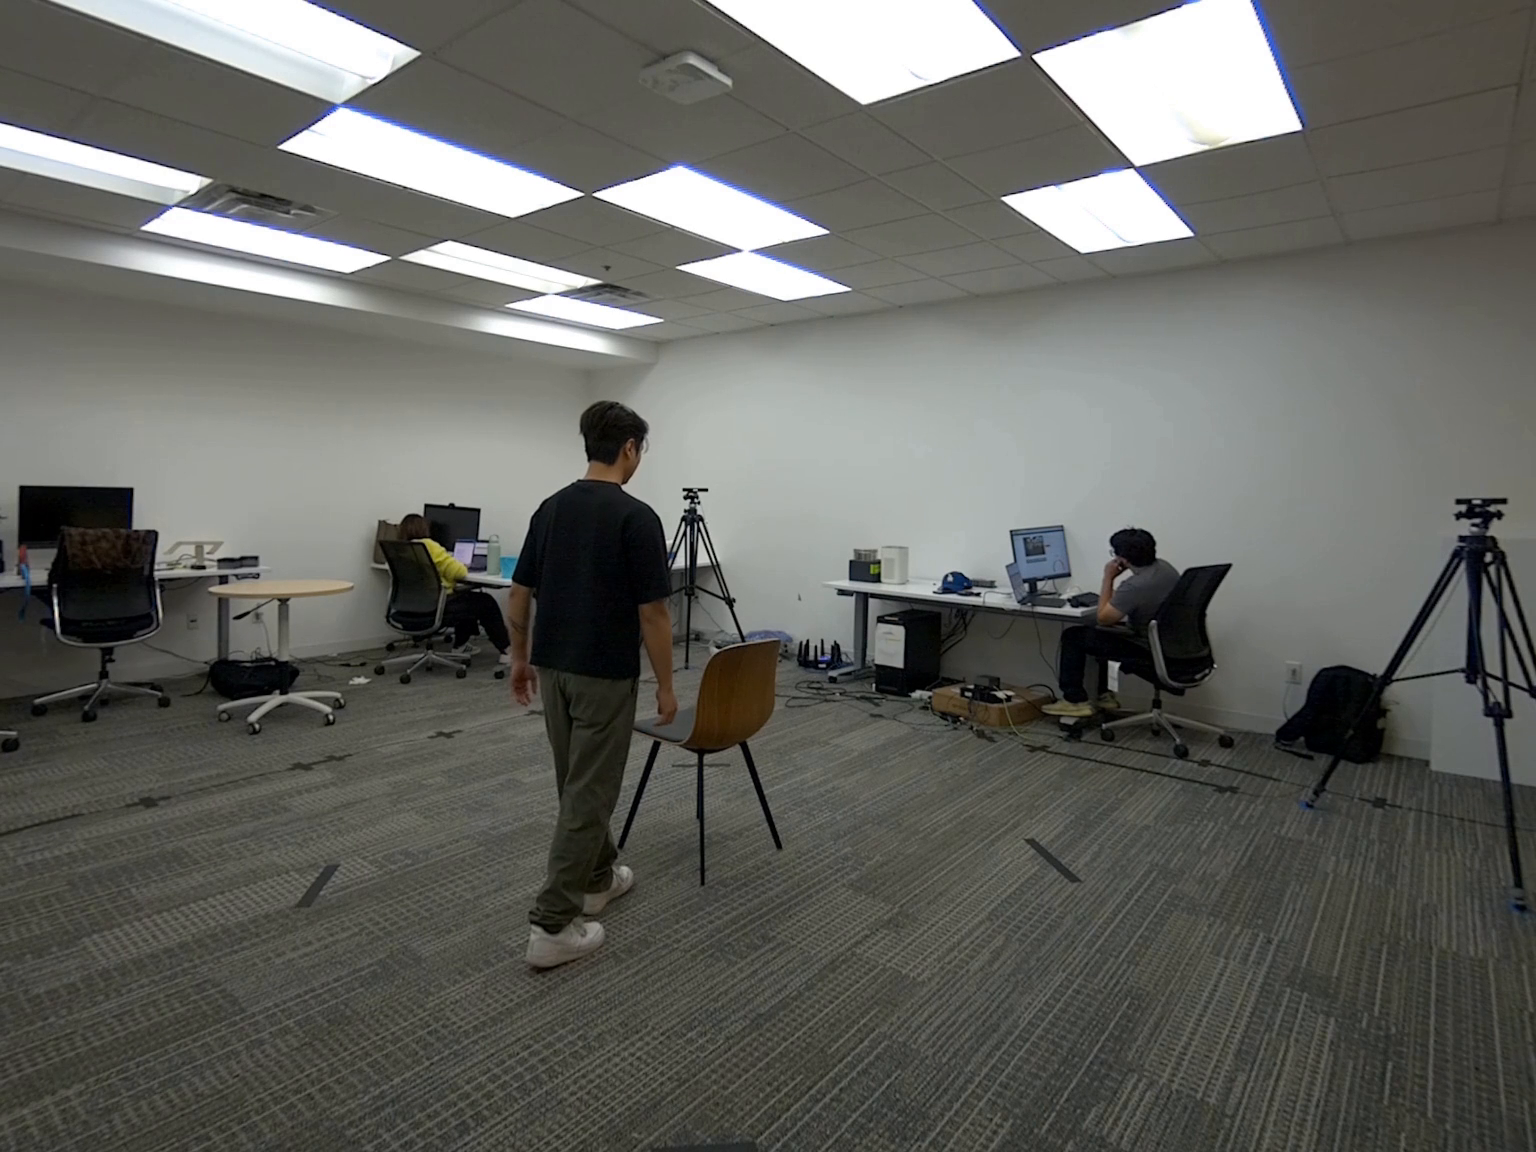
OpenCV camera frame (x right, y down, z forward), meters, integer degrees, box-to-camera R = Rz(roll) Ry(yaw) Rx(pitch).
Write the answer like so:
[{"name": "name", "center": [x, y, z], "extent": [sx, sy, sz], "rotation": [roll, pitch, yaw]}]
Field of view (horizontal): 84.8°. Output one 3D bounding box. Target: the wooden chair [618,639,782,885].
[{"name": "wooden chair", "center": [-0.264, 0.627, 3.269], "extent": [0.542, 0.873, 0.463], "rotation": [9, 8, 40]}]
